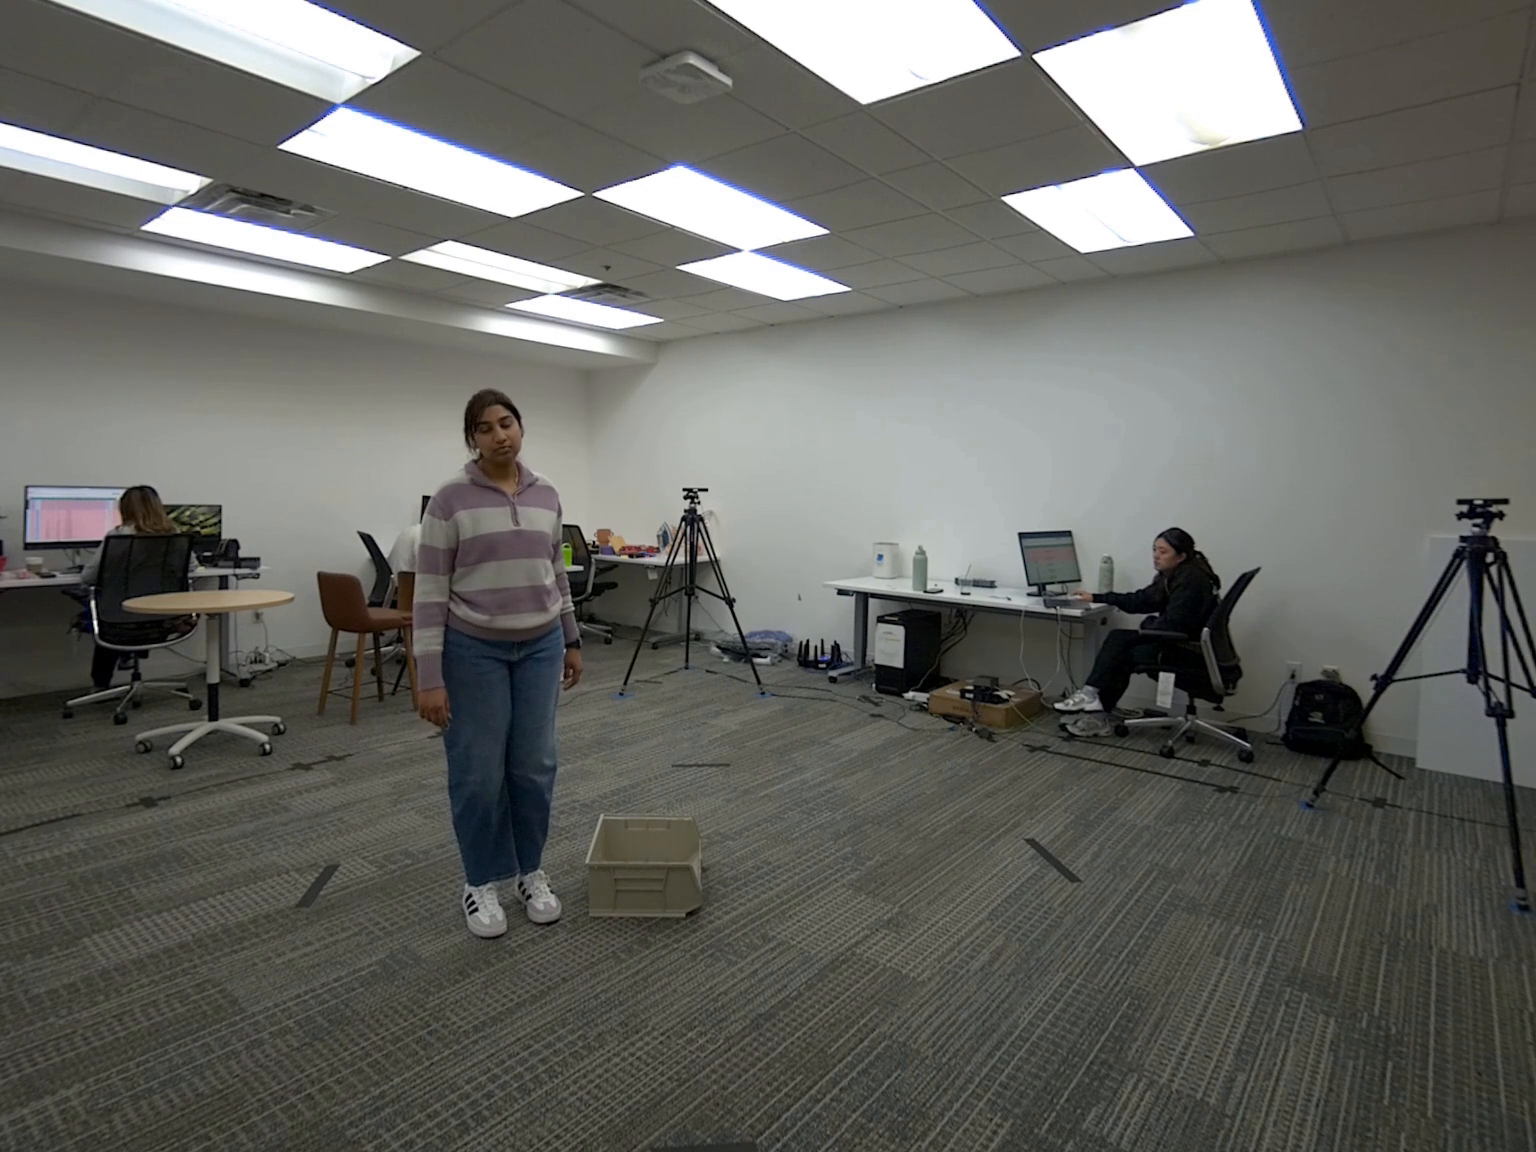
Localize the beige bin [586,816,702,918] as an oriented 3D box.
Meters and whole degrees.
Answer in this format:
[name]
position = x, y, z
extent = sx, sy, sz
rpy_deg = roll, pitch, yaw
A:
[beige bin]
position = -0.425, 0.992, 2.949
extent = 0.376, 0.188, 0.425
rpy_deg = 0, 5, -3
